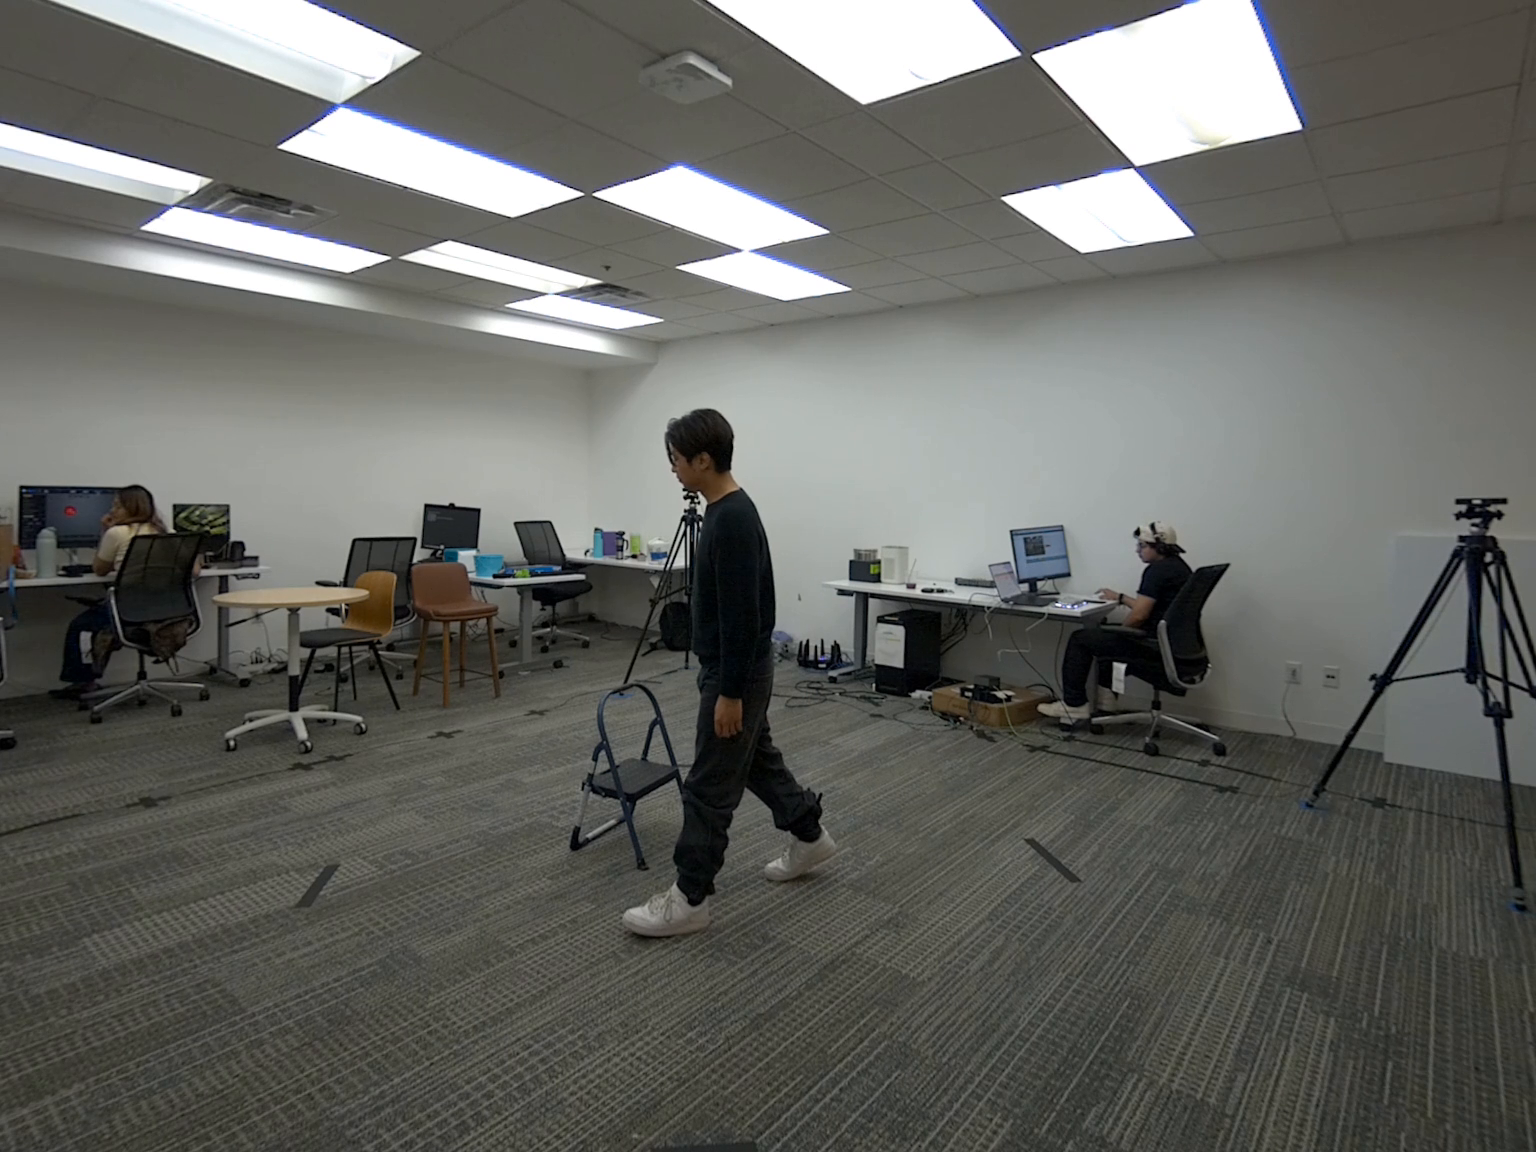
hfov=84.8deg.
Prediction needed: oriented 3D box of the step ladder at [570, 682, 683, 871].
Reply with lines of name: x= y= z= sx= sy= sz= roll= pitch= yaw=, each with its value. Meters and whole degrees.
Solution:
step ladder: x=-0.525 y=0.737 z=3.343 sx=0.358 sy=0.604 sz=0.421 roll=3 pitch=4 yaw=25
